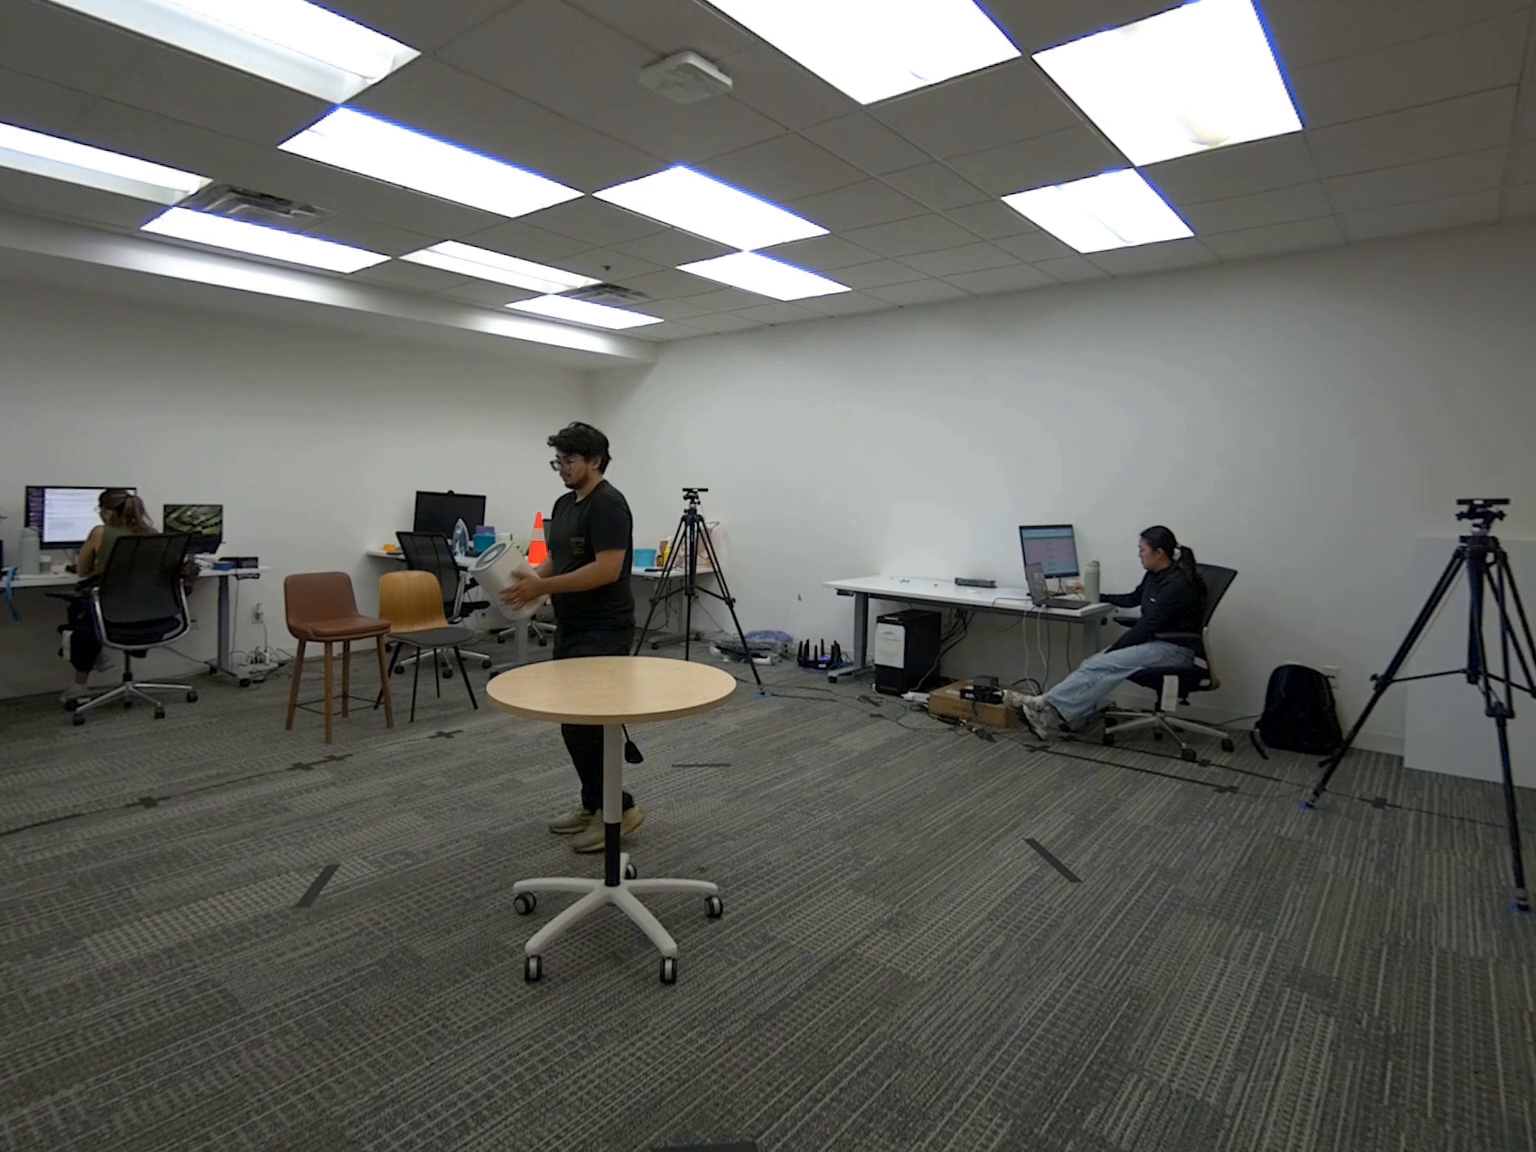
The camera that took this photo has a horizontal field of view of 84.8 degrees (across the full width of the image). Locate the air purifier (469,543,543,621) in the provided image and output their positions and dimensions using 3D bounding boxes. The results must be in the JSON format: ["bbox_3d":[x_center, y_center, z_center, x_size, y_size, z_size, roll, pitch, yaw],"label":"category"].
[{"bbox_3d":[-0.987,0.019,3.210,0.173,0.254,0.174,-1,39,47],"label":"air purifier"}]
